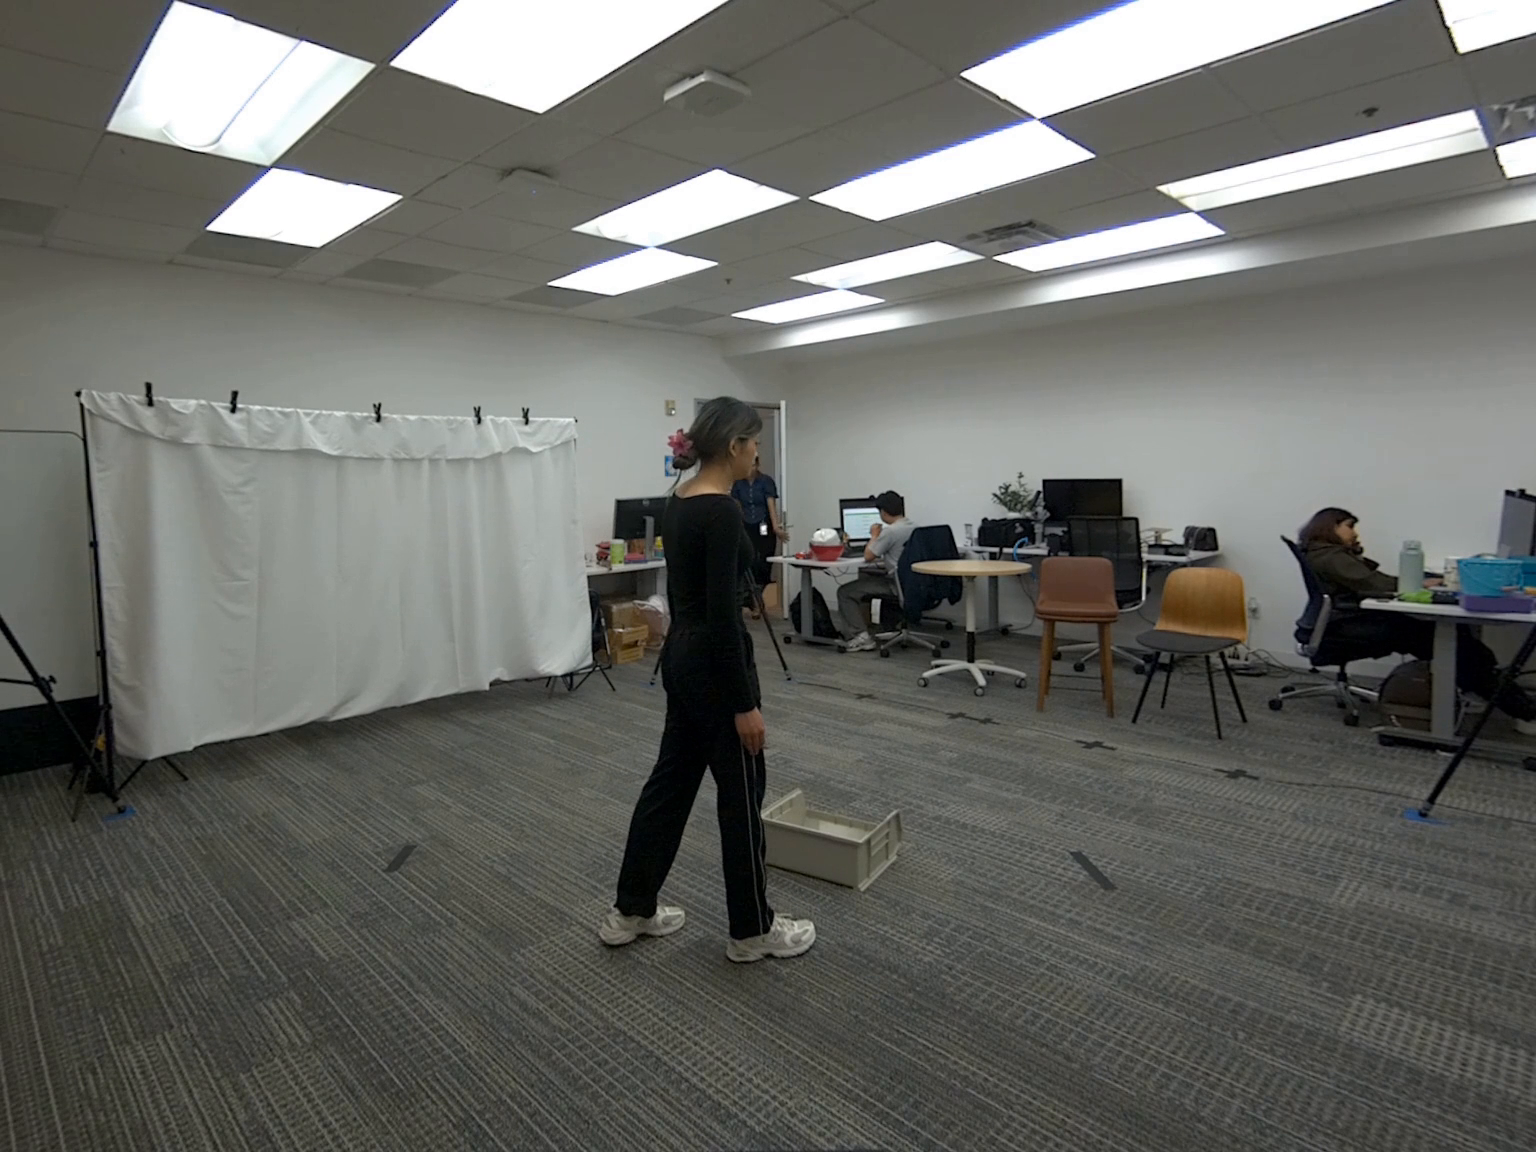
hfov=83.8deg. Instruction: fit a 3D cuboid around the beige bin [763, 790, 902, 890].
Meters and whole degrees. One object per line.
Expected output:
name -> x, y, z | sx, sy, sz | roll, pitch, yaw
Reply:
beige bin -> 0.230, 0.949, 3.123 | 0.434, 0.188, 0.369 | 3, 8, 32
